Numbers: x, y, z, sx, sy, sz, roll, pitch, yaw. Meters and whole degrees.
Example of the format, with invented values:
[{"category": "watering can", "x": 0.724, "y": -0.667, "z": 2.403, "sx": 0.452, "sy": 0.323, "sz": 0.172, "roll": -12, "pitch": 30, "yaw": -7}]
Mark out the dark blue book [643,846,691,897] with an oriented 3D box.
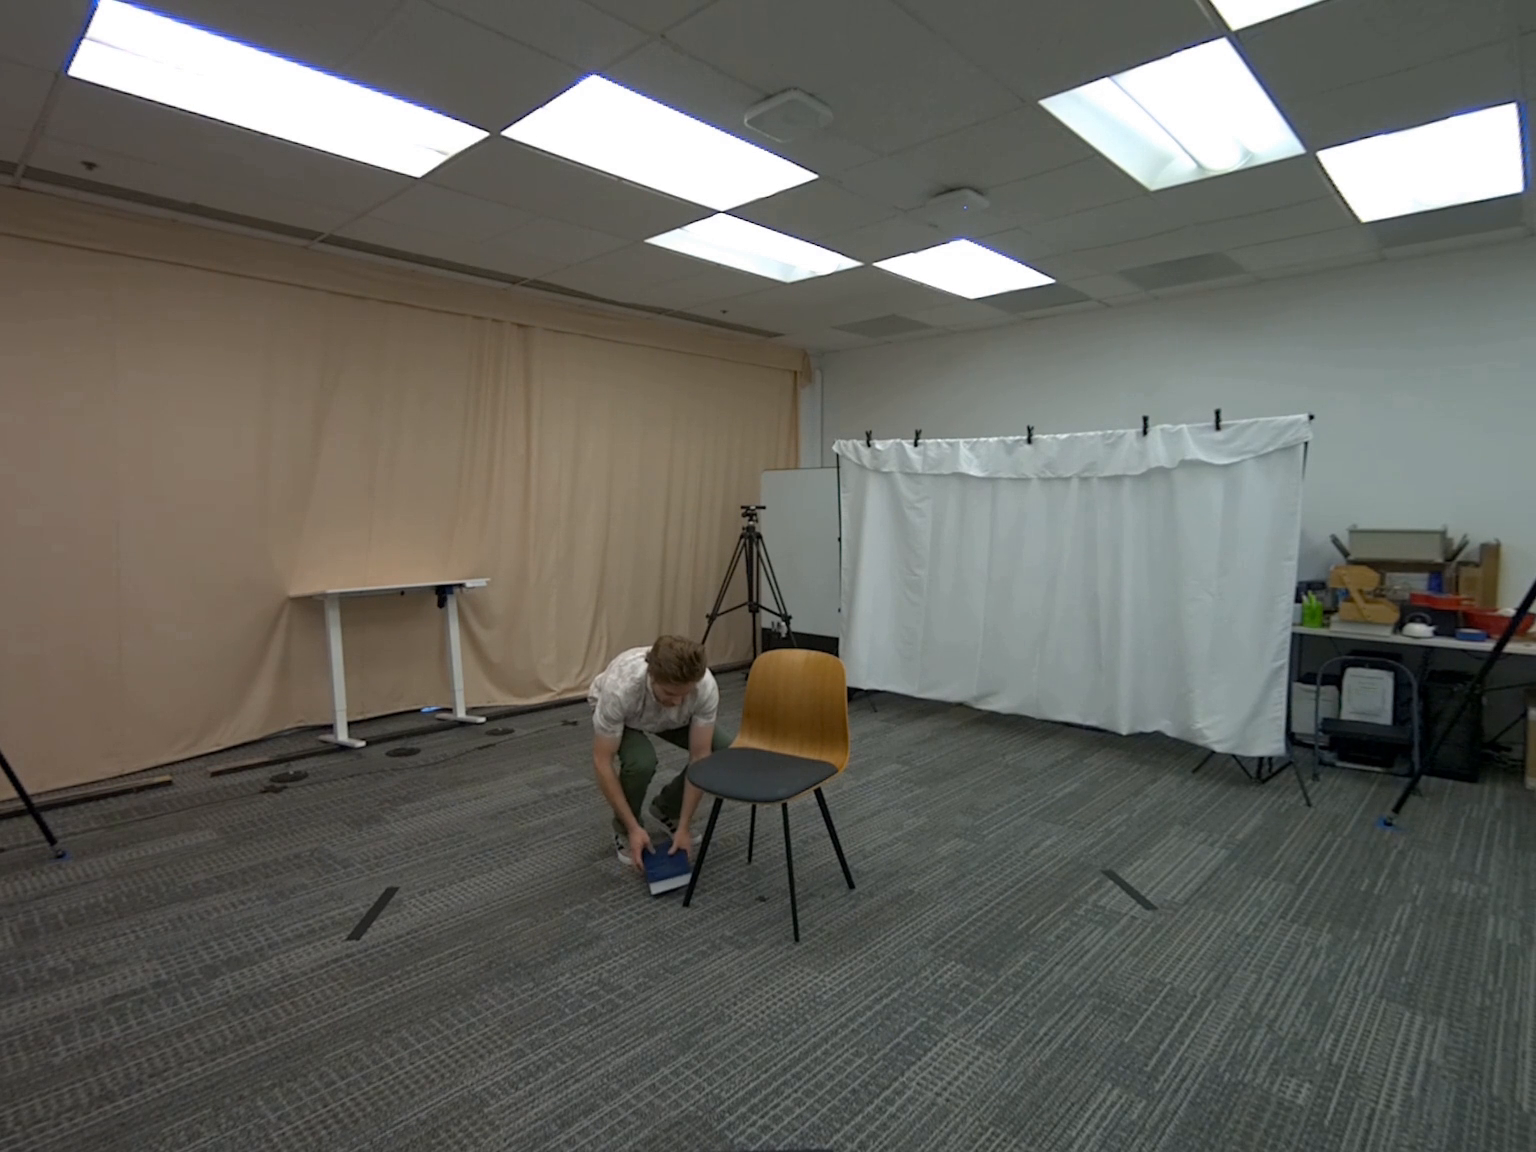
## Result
[{"category": "dark blue book", "x": -0.375, "y": 1.075, "z": 3.099, "sx": 0.161, "sy": 0.045, "sz": 0.250, "roll": -11, "pitch": 13, "yaw": -14}]
